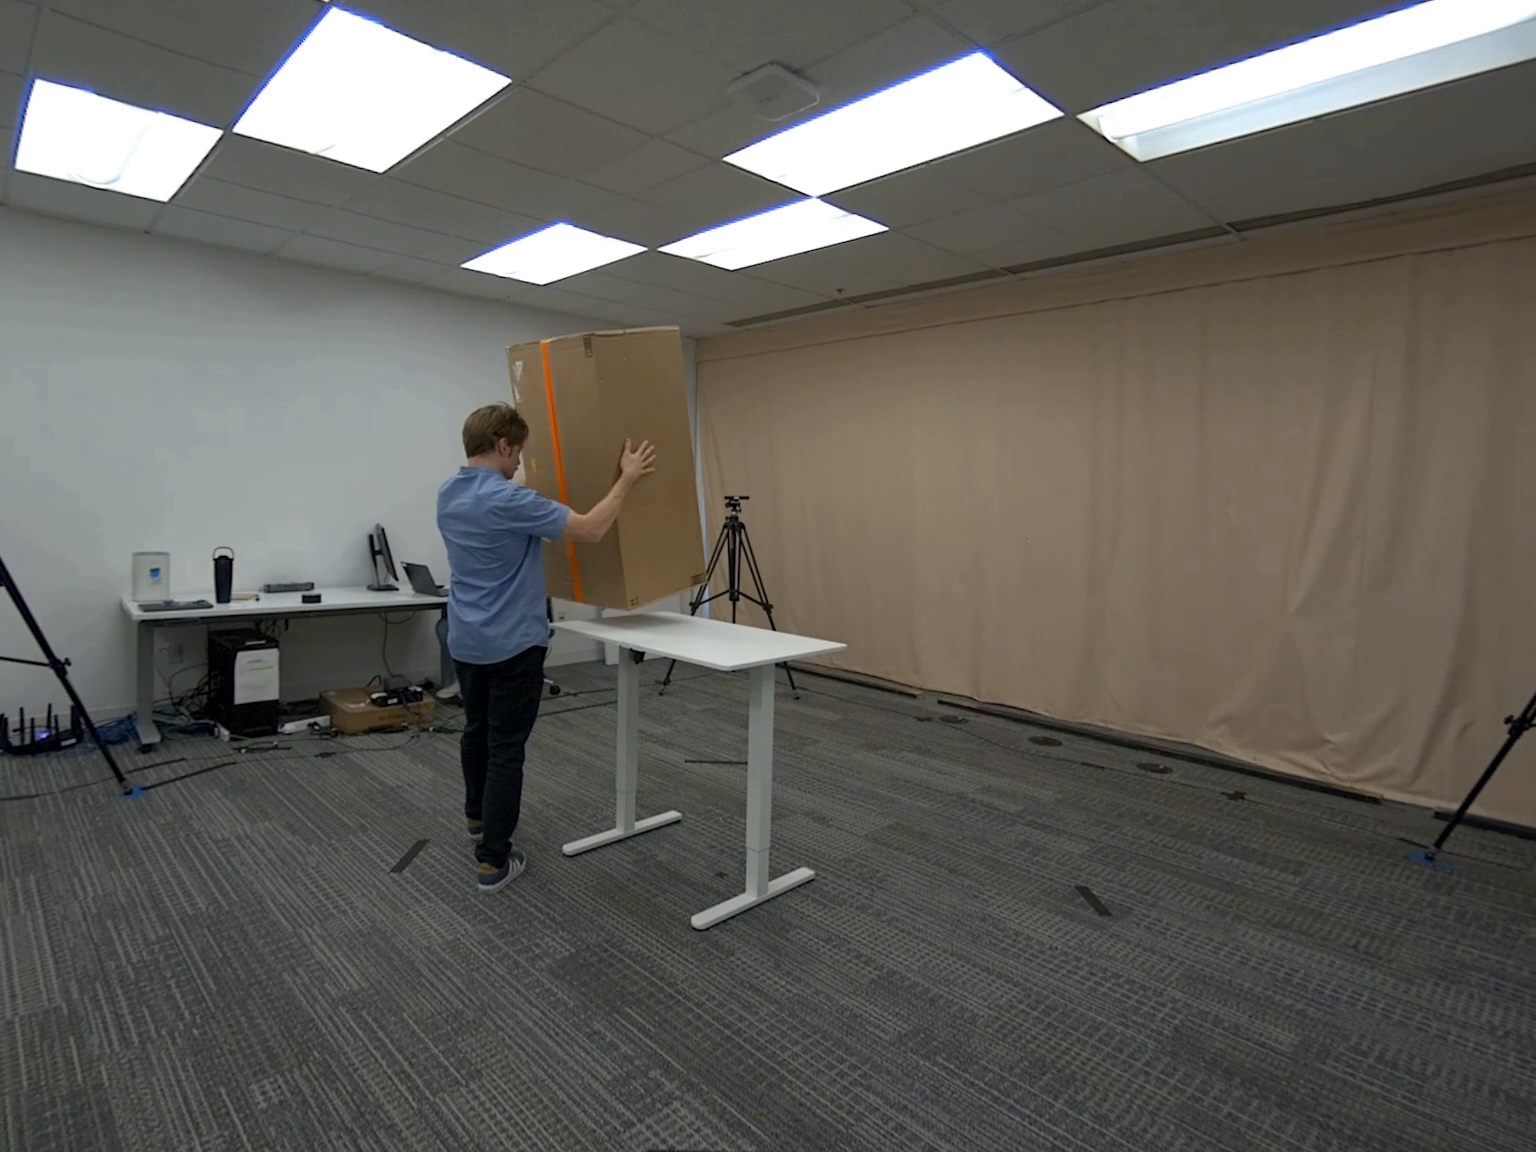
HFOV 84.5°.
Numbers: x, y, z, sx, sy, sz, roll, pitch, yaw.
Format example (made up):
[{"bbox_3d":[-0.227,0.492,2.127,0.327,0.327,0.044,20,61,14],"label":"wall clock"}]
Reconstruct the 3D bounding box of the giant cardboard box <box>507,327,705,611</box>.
[{"bbox_3d":[-0.646,-0.433,3.363,0.592,1.016,0.419,6,17,44],"label":"giant cardboard box"}]
